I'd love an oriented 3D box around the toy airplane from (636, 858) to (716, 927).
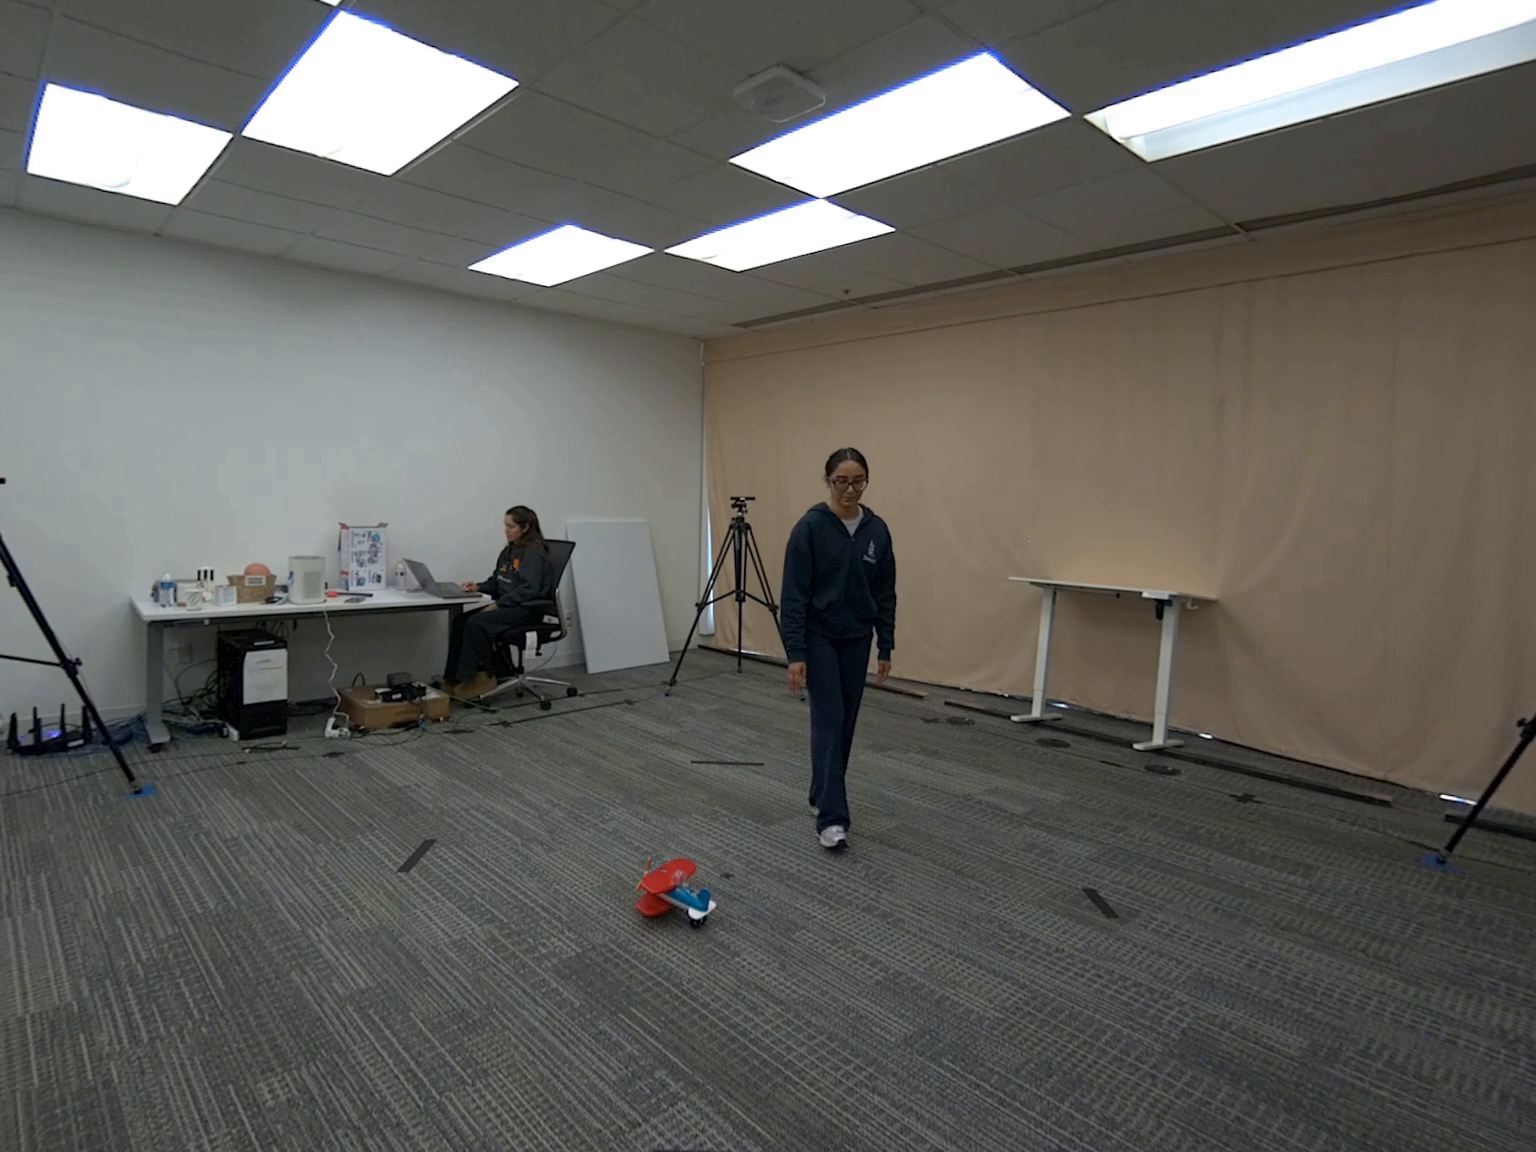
[{"bbox_3d":[-0.303,1.056,2.797,0.259,0.156,0.252,1,6,-1],"label":"toy airplane"}]
